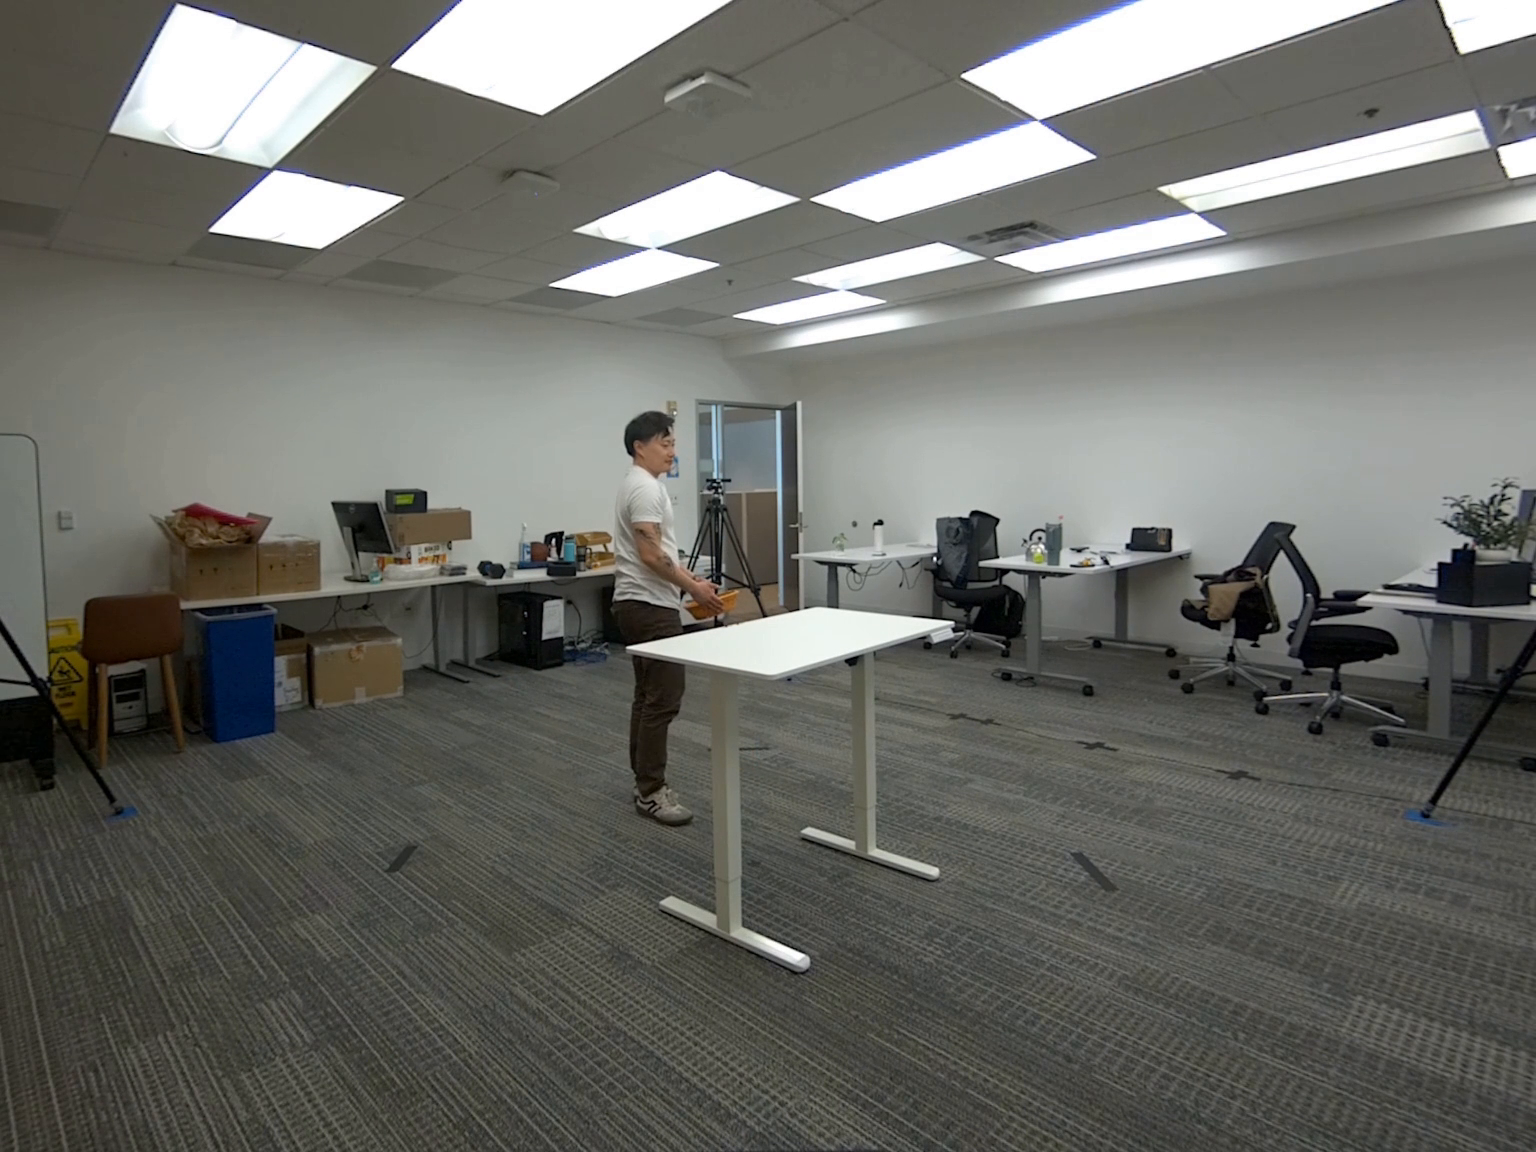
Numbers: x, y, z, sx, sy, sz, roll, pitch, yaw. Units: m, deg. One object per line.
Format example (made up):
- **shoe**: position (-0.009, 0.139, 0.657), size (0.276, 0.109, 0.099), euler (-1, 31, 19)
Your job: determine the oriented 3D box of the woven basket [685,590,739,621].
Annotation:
- **woven basket**: position (-0.259, 0.132, 3.823), size (0.252, 0.073, 0.350), euler (-18, 2, 1)
